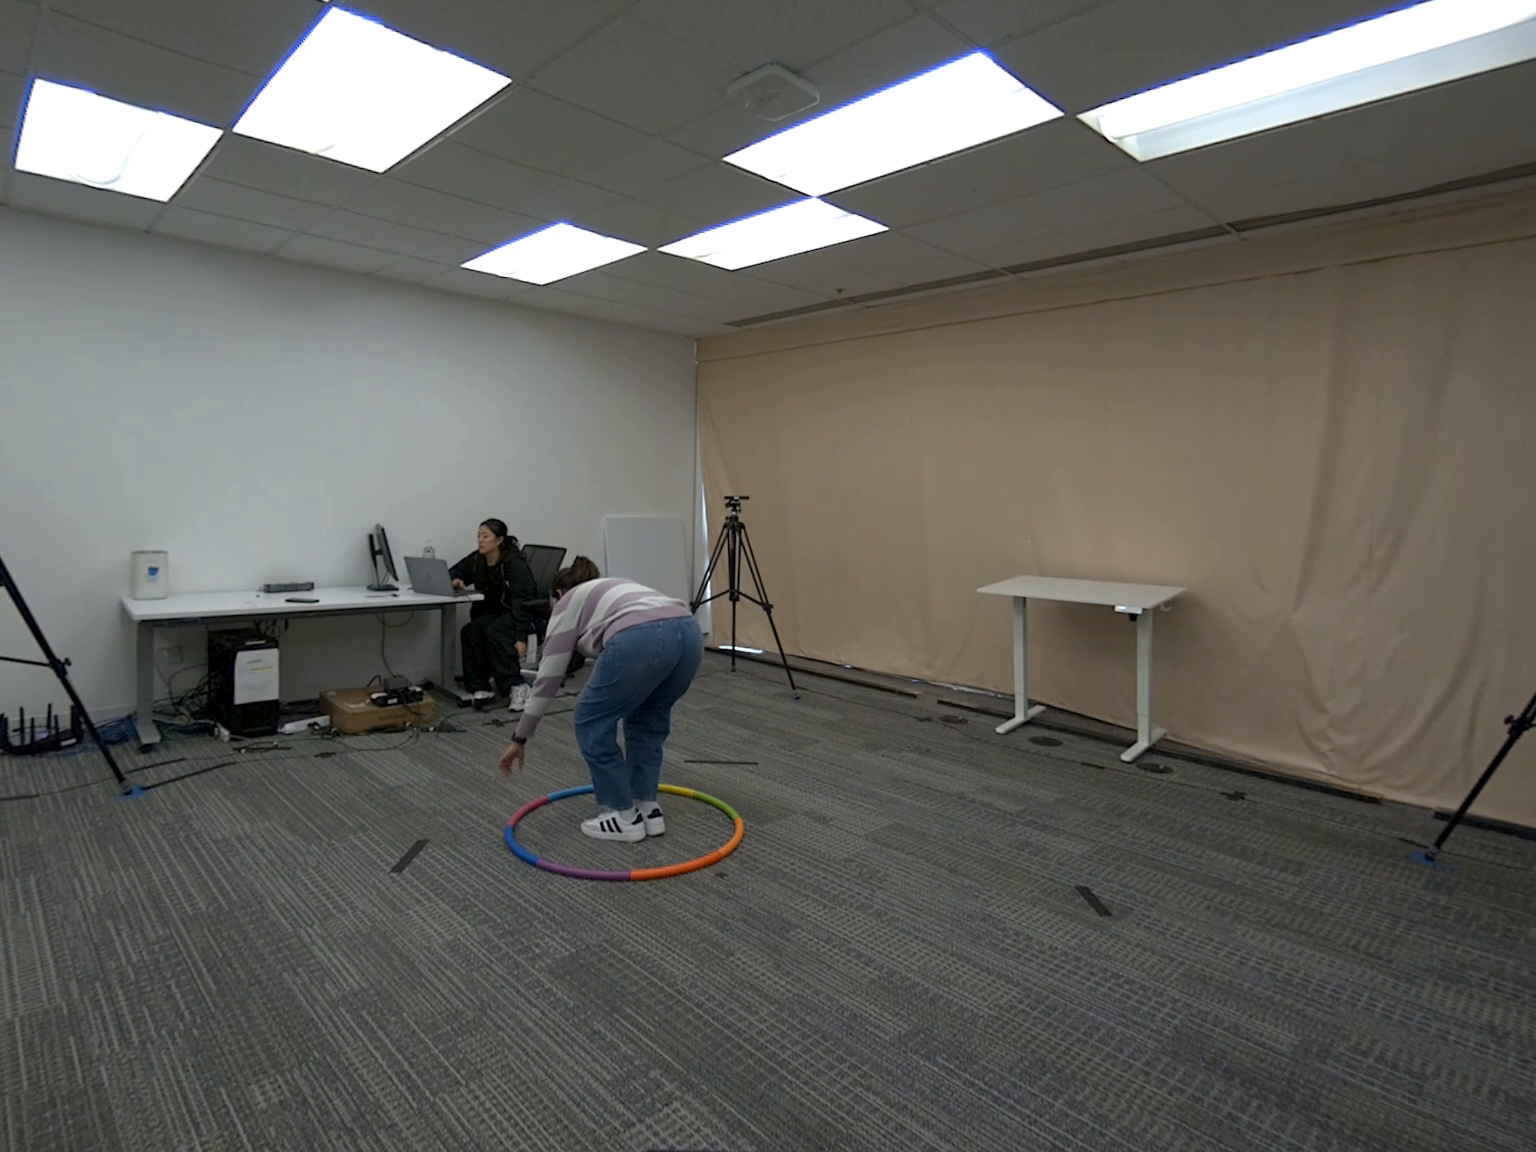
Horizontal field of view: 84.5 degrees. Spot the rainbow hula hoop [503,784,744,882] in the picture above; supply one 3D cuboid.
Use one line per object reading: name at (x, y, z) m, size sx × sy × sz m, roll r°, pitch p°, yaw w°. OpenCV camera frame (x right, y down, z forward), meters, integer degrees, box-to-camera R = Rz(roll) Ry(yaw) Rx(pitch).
rainbow hula hoop at (-0.596, 1.029, 3.515) m, size 0.978 × 0.035 × 0.982 m, roll 1°, pitch 5°, yaw -1°
